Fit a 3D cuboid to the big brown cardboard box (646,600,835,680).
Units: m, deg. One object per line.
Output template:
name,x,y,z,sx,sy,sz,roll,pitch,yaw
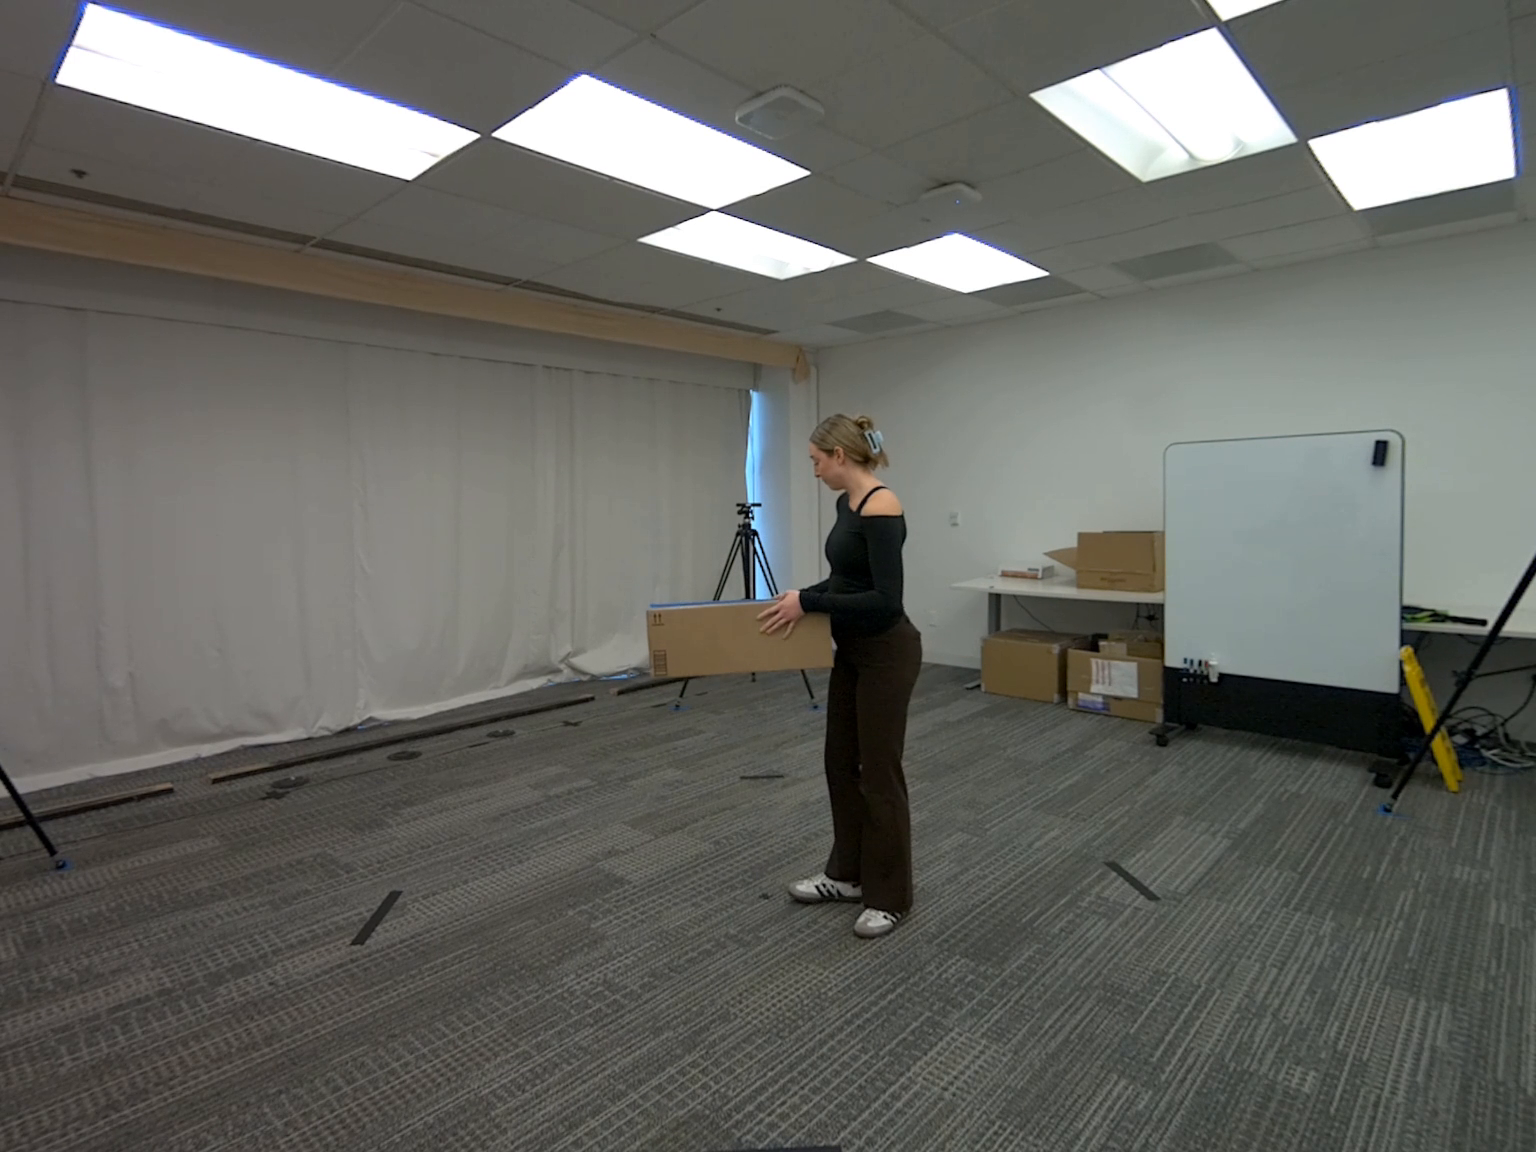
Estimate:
big brown cardboard box,-0.094,0.199,2.786,0.590,0.234,0.416,-2,-2,1
